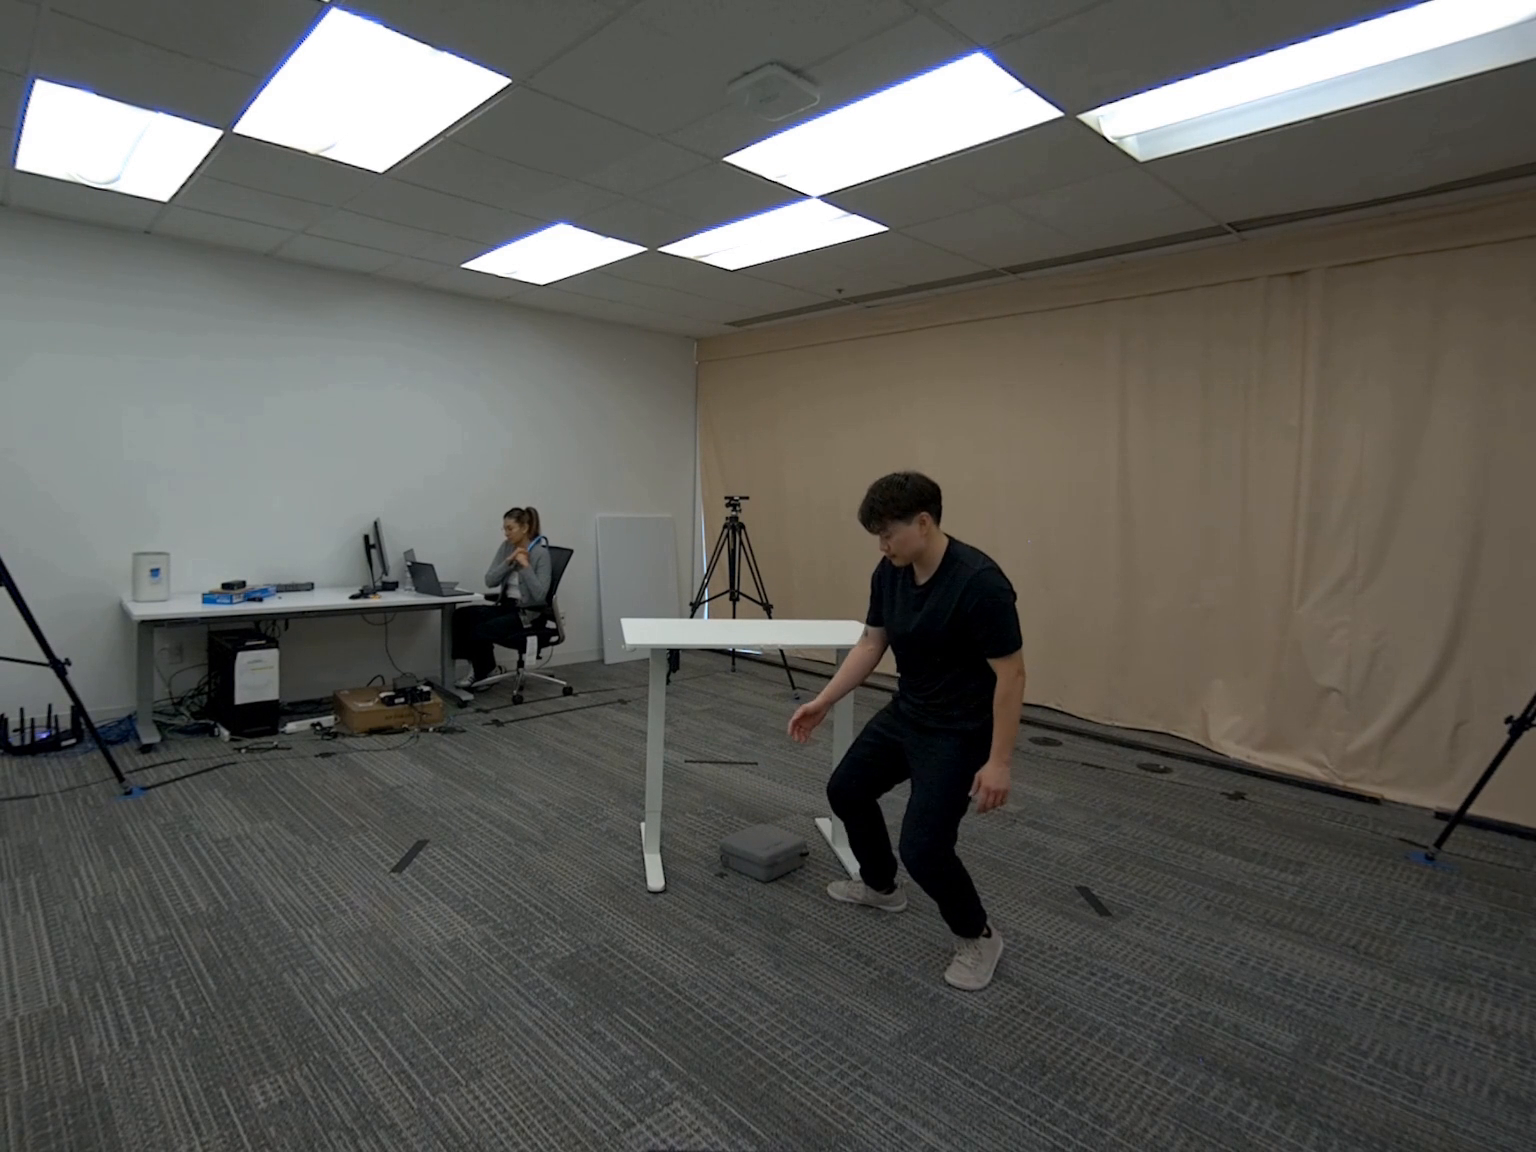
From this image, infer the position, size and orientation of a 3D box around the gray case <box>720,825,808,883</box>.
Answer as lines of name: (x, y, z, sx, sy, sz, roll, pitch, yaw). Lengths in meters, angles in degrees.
gray case: (-0.030, 1.036, 3.194, 0.267, 0.104, 0.251, 4, 6, 43)
